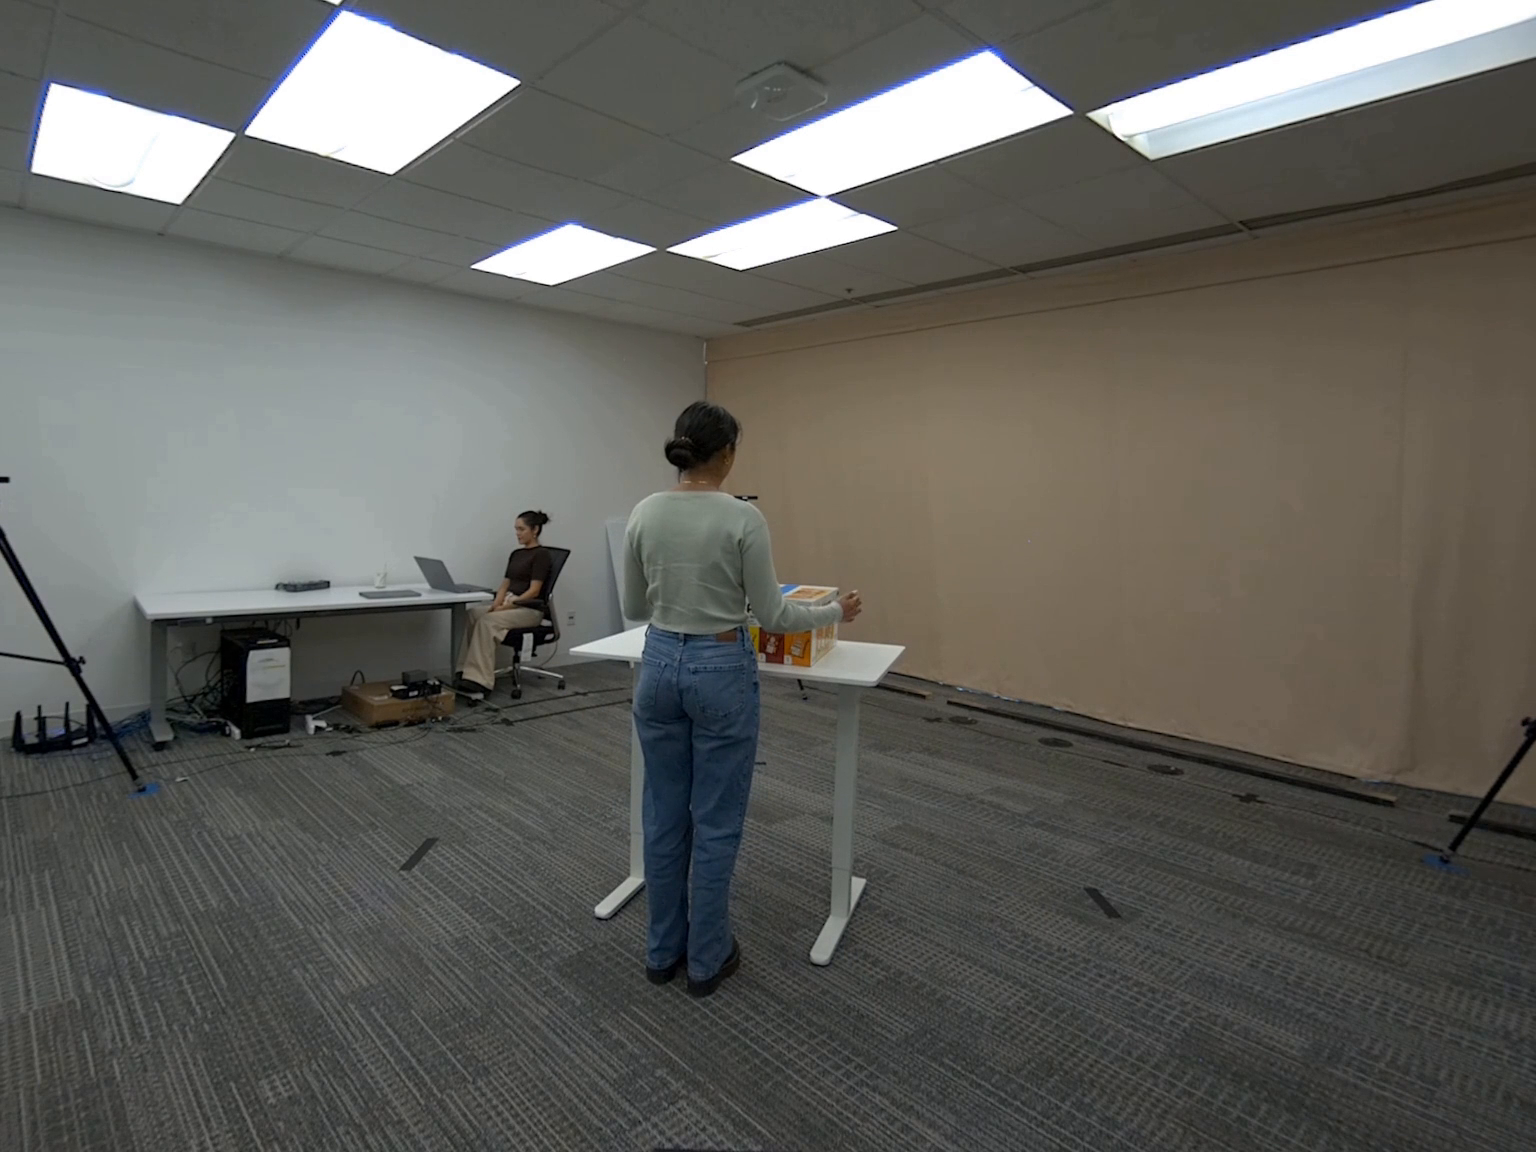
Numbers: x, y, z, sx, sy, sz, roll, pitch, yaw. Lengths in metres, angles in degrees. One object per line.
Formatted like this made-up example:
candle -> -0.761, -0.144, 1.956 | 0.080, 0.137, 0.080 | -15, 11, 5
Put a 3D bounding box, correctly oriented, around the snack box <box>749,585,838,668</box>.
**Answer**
snack box -> 0.023, 0.152, 2.812 | 0.345, 0.205, 0.400 | 4, 6, 18
